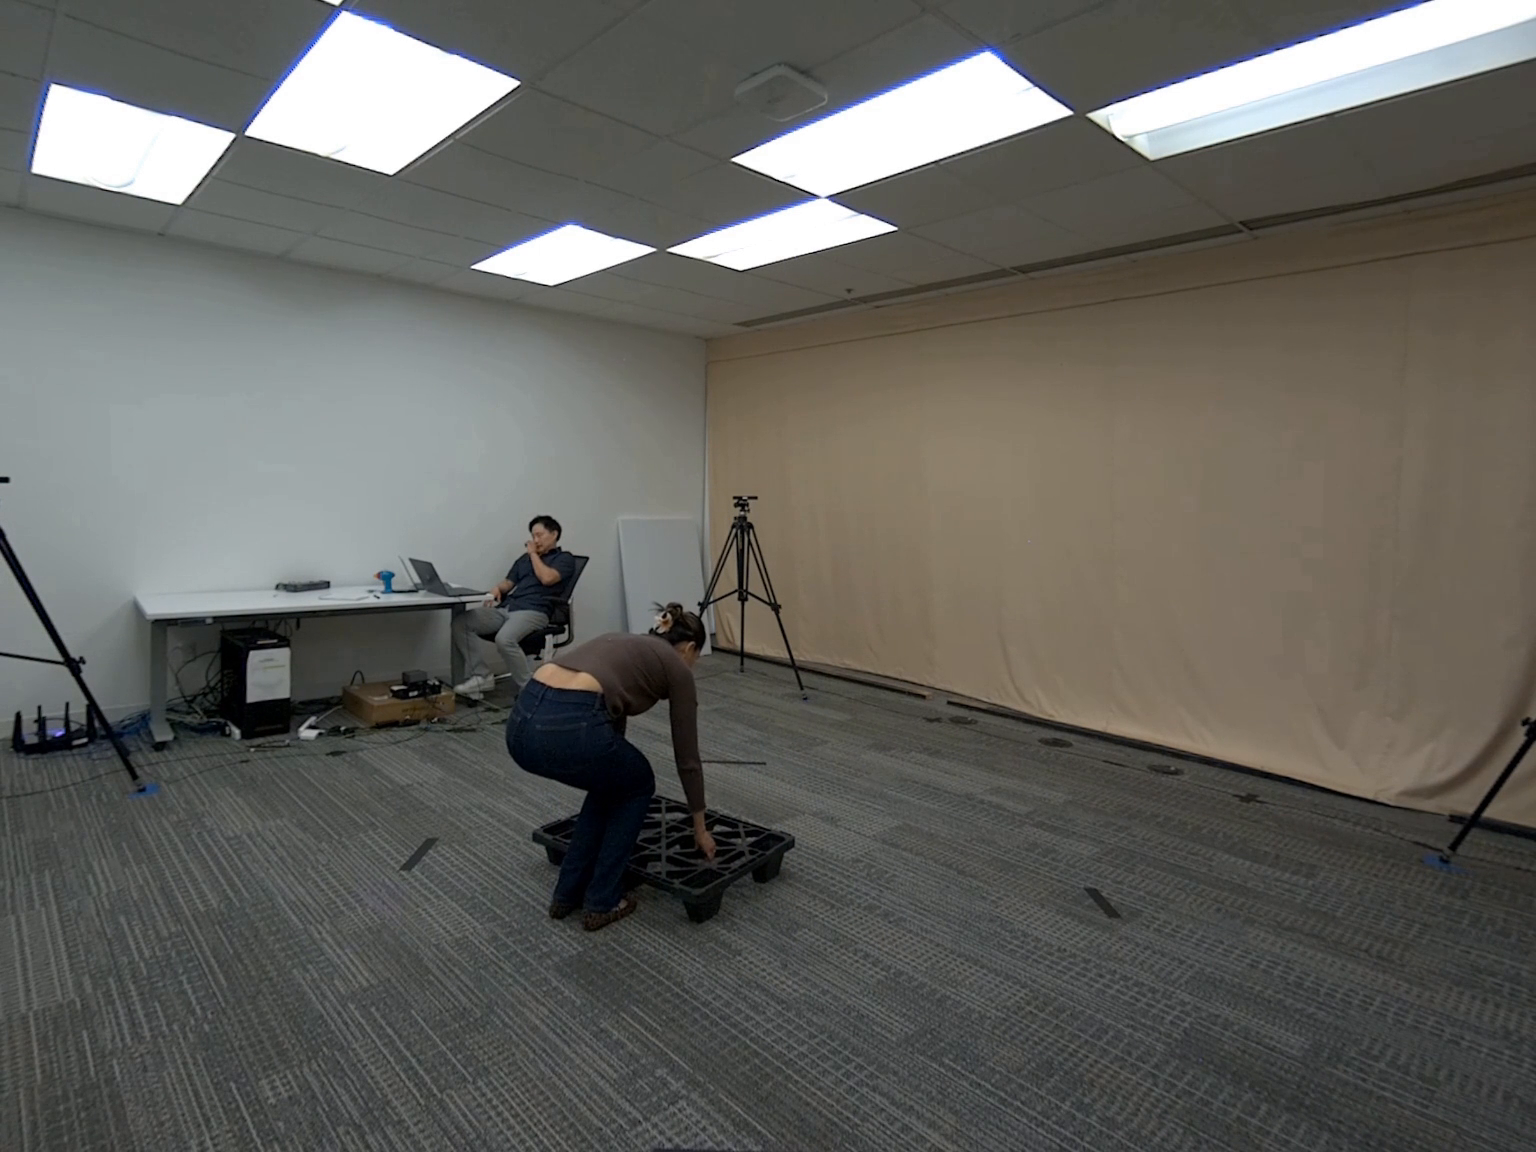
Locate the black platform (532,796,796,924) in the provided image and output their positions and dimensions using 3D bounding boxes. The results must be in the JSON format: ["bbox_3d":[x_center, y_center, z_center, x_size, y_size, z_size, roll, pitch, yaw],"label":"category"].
[{"bbox_3d":[-0.396,1.023,3.142,0.825,0.143,0.592,5,6,35],"label":"black platform"}]
